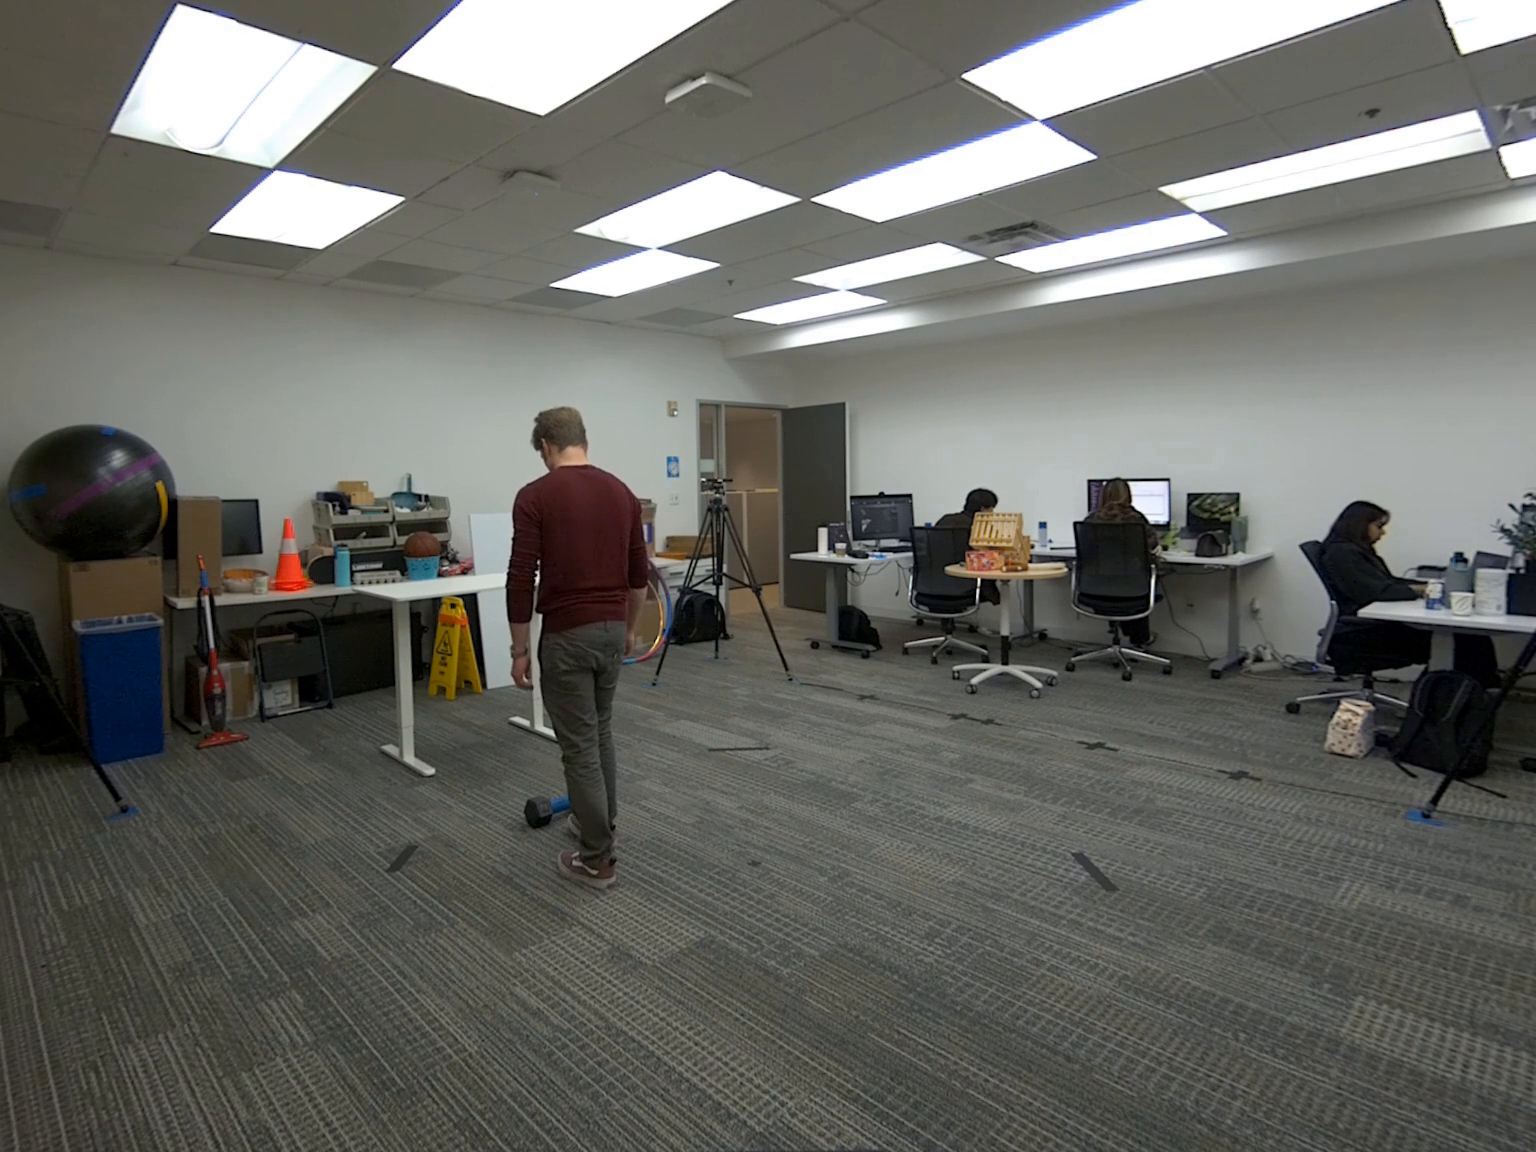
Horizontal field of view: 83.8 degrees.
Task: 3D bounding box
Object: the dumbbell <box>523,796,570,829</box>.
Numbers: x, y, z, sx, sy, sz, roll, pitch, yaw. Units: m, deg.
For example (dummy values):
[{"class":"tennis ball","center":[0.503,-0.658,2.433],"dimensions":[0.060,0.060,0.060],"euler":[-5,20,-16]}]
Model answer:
[{"class":"dumbbell","center":[-0.869,0.954,3.573],"dimensions":[0.286,0.125,0.109],"euler":[-6,-24,-47]}]
